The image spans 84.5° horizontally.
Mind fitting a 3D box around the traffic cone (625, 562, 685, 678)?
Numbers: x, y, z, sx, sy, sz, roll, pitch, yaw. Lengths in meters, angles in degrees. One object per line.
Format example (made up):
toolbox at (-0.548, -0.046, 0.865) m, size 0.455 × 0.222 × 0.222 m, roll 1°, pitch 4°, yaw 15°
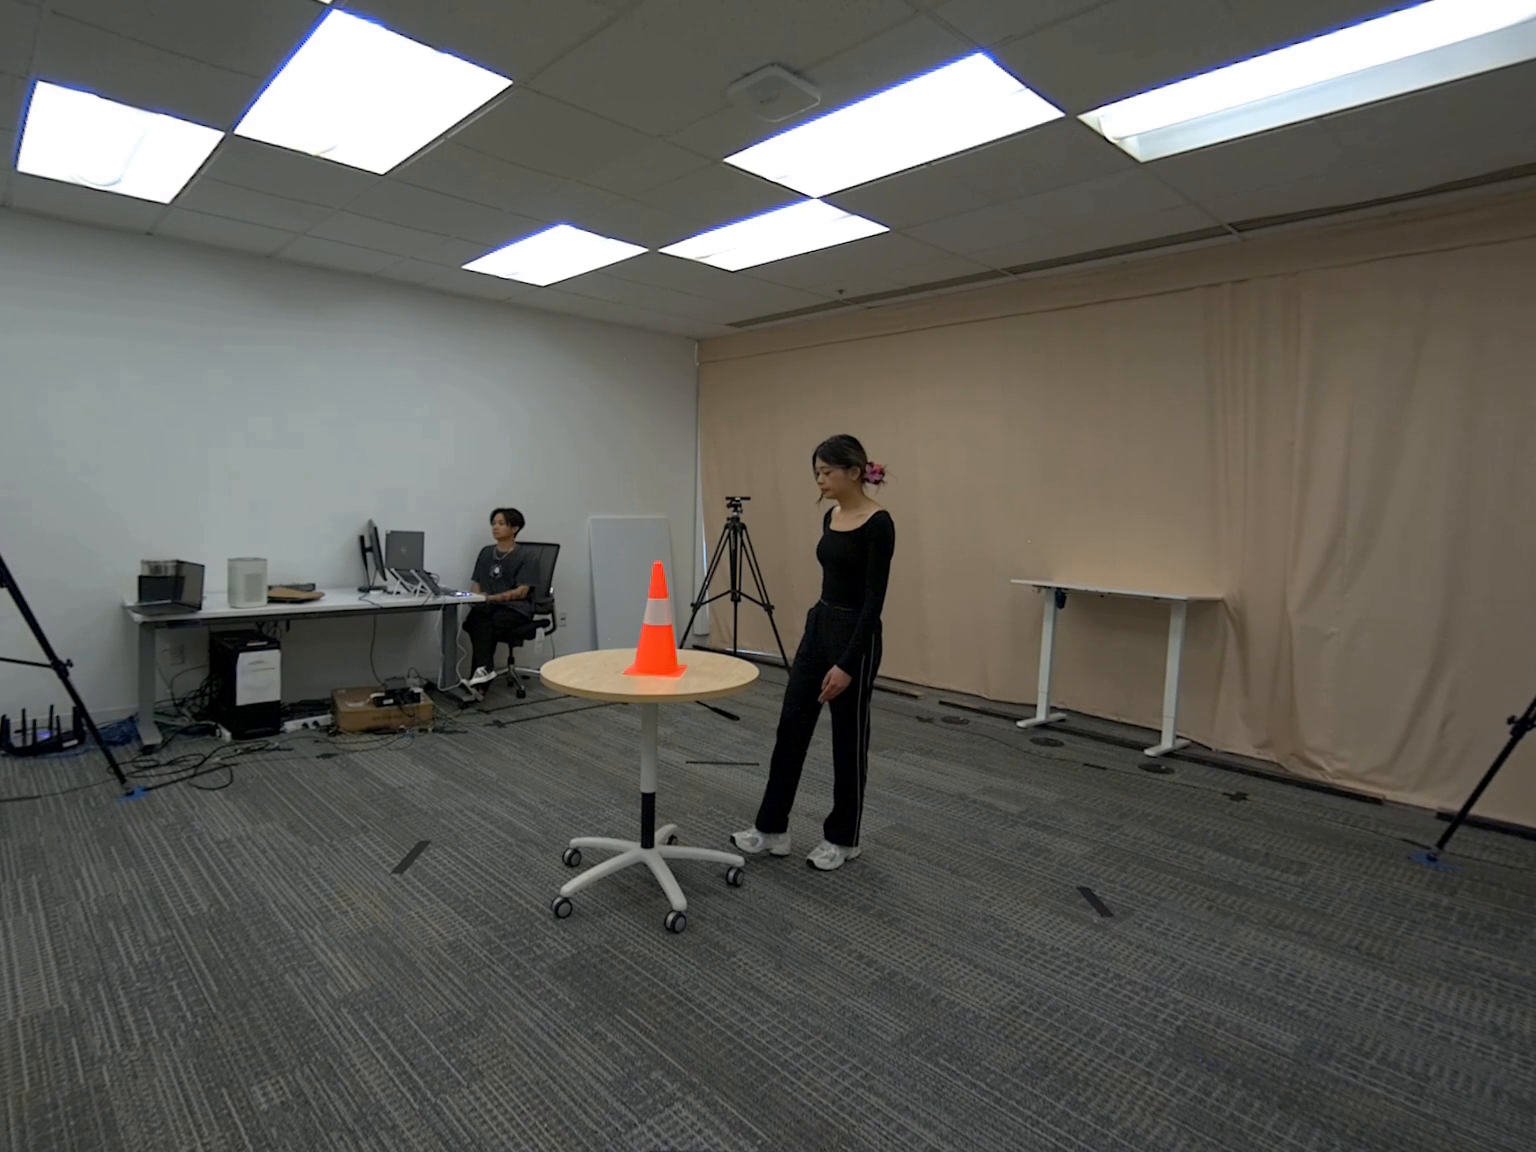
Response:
traffic cone at (-0.393, 0.145, 2.927) m, size 0.204 × 0.382 × 0.205 m, roll 2°, pitch 5°, yaw 4°
